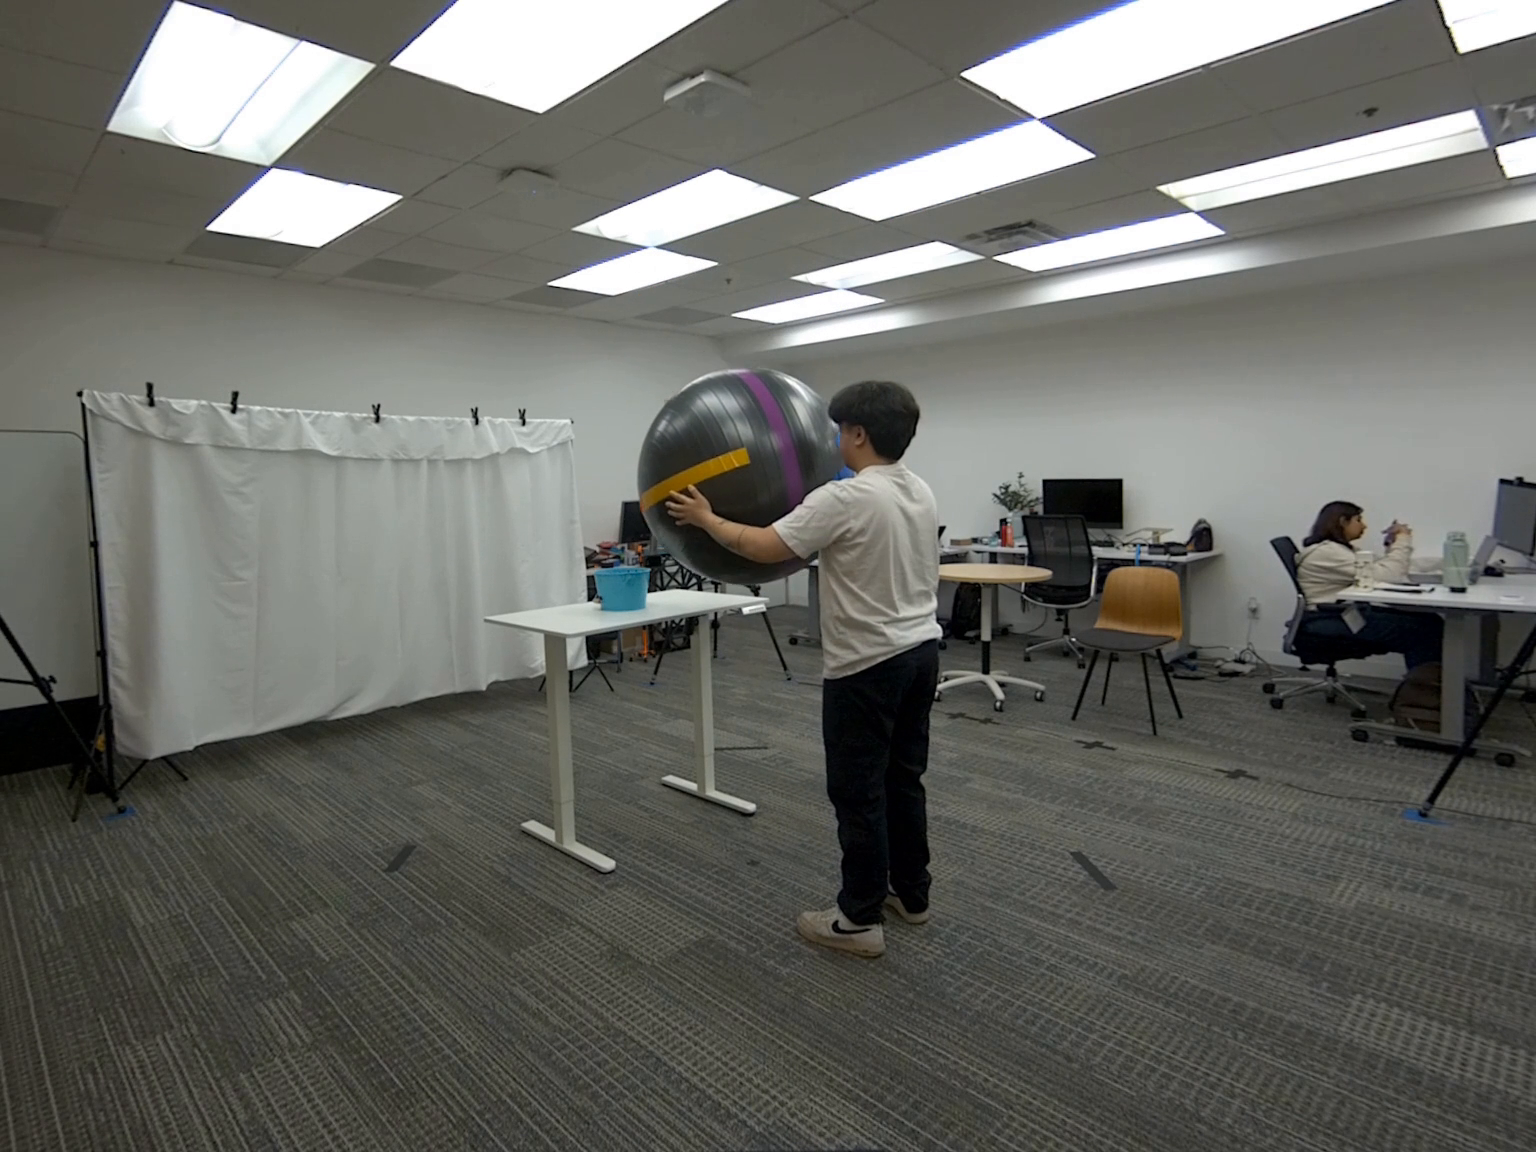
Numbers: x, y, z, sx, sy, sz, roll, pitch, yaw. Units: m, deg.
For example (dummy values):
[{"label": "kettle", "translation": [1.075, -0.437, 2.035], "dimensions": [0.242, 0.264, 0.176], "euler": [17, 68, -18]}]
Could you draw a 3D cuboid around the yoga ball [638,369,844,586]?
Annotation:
[{"label": "yoga ball", "translation": [-0.080, -0.339, 3.001], "dimensions": [0.757, 0.755, 0.762], "euler": [-1, 5, -2]}]
